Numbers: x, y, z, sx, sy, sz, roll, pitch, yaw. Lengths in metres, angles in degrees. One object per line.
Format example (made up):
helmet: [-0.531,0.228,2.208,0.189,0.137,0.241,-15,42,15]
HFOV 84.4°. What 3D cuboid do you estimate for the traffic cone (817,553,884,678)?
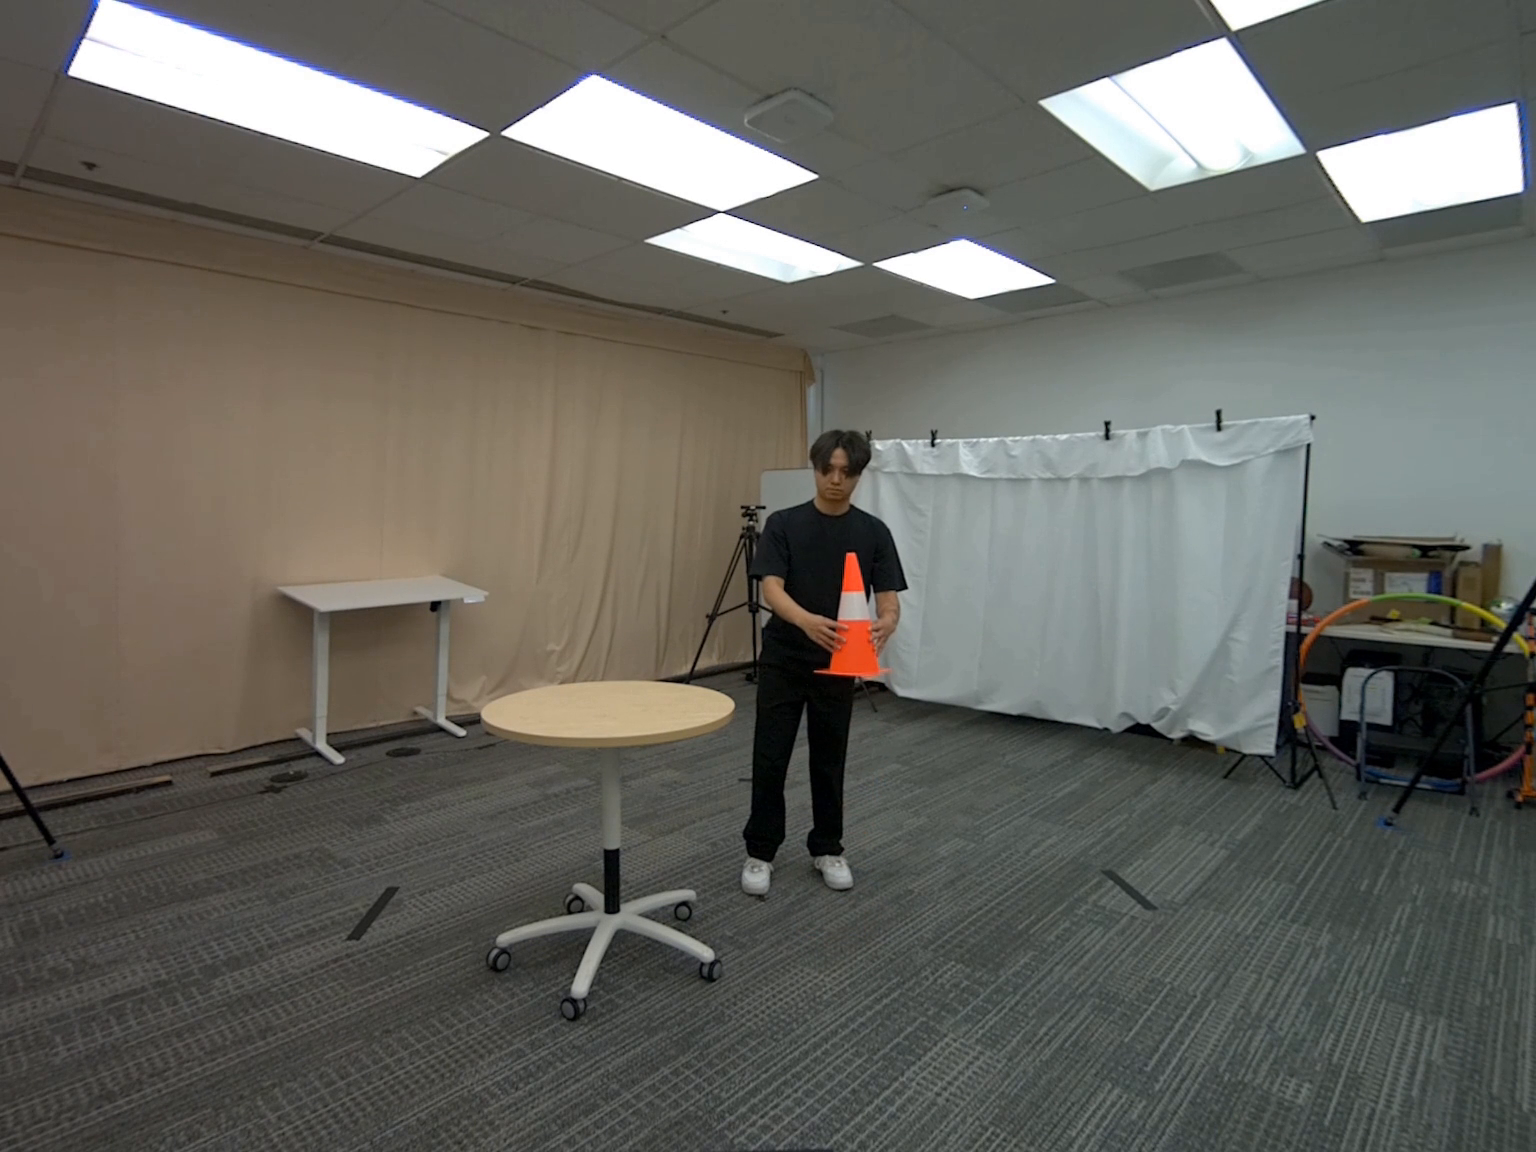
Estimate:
traffic cone: [0.271,0.119,2.713,0.209,0.384,0.199,-2,0,32]
